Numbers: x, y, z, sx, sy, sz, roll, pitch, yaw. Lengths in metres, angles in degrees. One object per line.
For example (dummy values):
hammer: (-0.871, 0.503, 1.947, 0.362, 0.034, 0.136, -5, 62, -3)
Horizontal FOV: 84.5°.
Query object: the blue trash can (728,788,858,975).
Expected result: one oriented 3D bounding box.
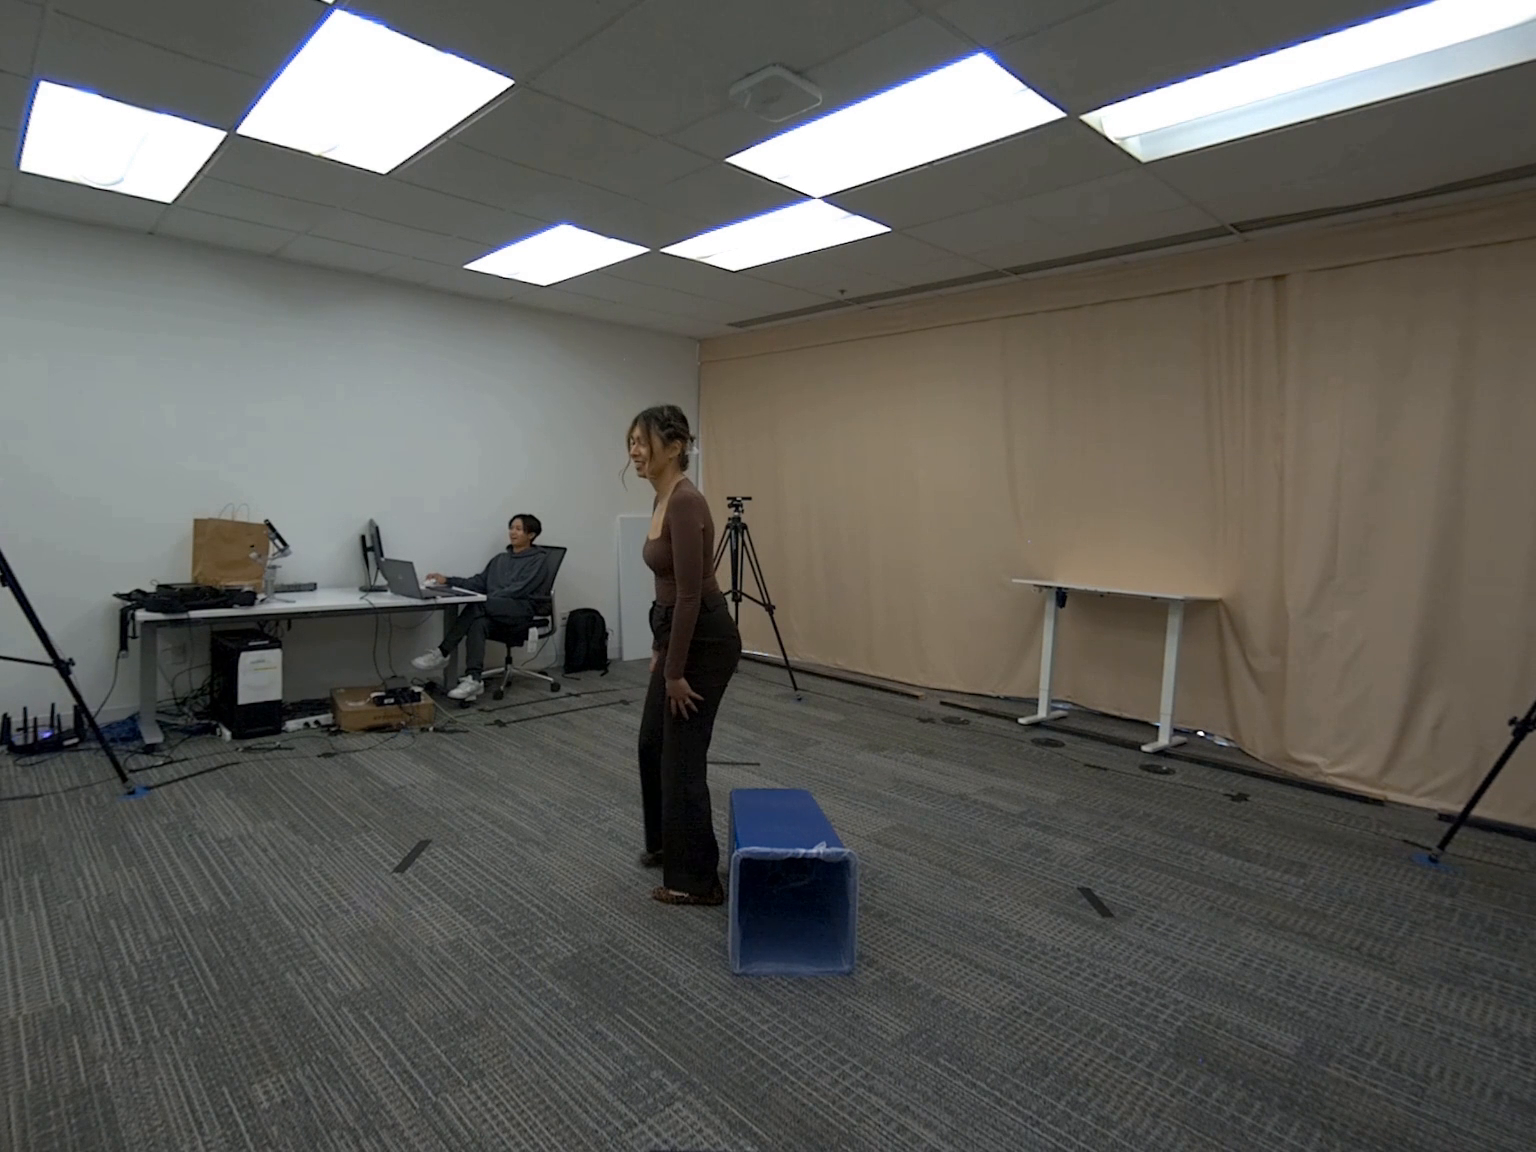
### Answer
blue trash can: (0.033, 0.975, 2.808, 0.372, 0.378, 0.717, 1, 2, -6)
